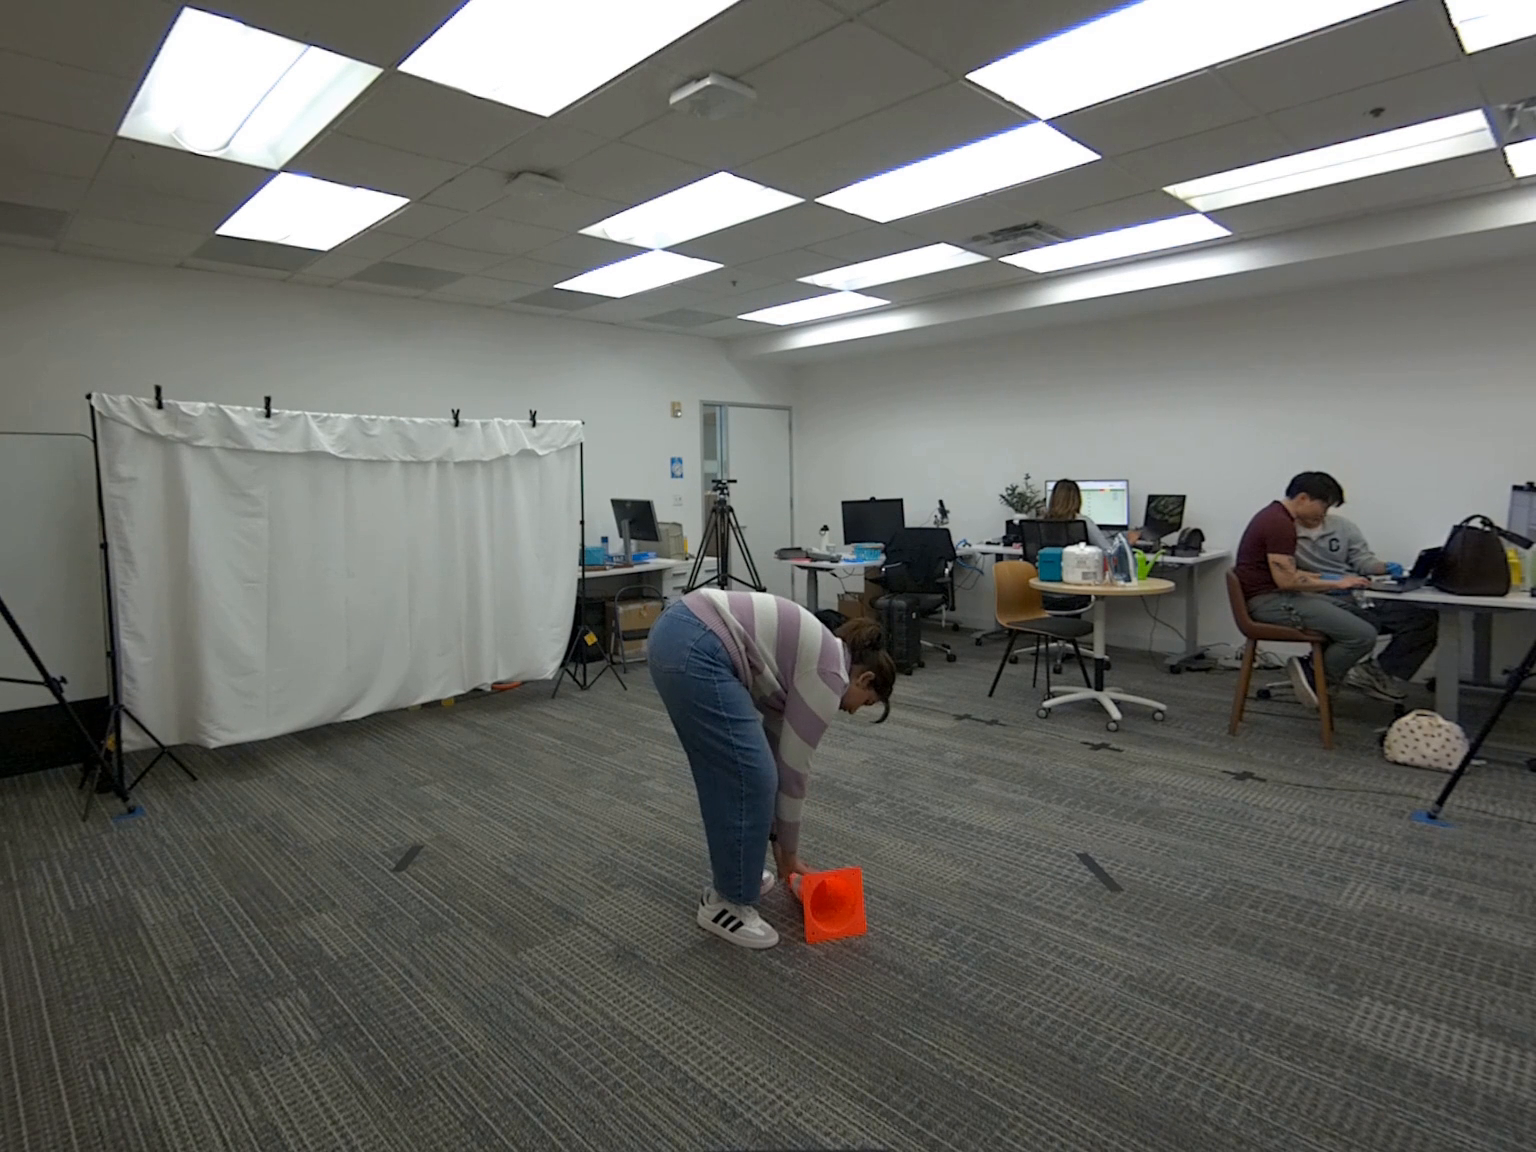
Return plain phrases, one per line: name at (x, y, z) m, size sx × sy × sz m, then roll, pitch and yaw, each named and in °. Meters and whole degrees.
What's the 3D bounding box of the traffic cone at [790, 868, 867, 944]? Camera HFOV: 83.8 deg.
traffic cone at (0.134, 1.023, 2.787) m, size 0.200 × 0.206 × 0.387 m, roll -2°, pitch -7°, yaw -20°
